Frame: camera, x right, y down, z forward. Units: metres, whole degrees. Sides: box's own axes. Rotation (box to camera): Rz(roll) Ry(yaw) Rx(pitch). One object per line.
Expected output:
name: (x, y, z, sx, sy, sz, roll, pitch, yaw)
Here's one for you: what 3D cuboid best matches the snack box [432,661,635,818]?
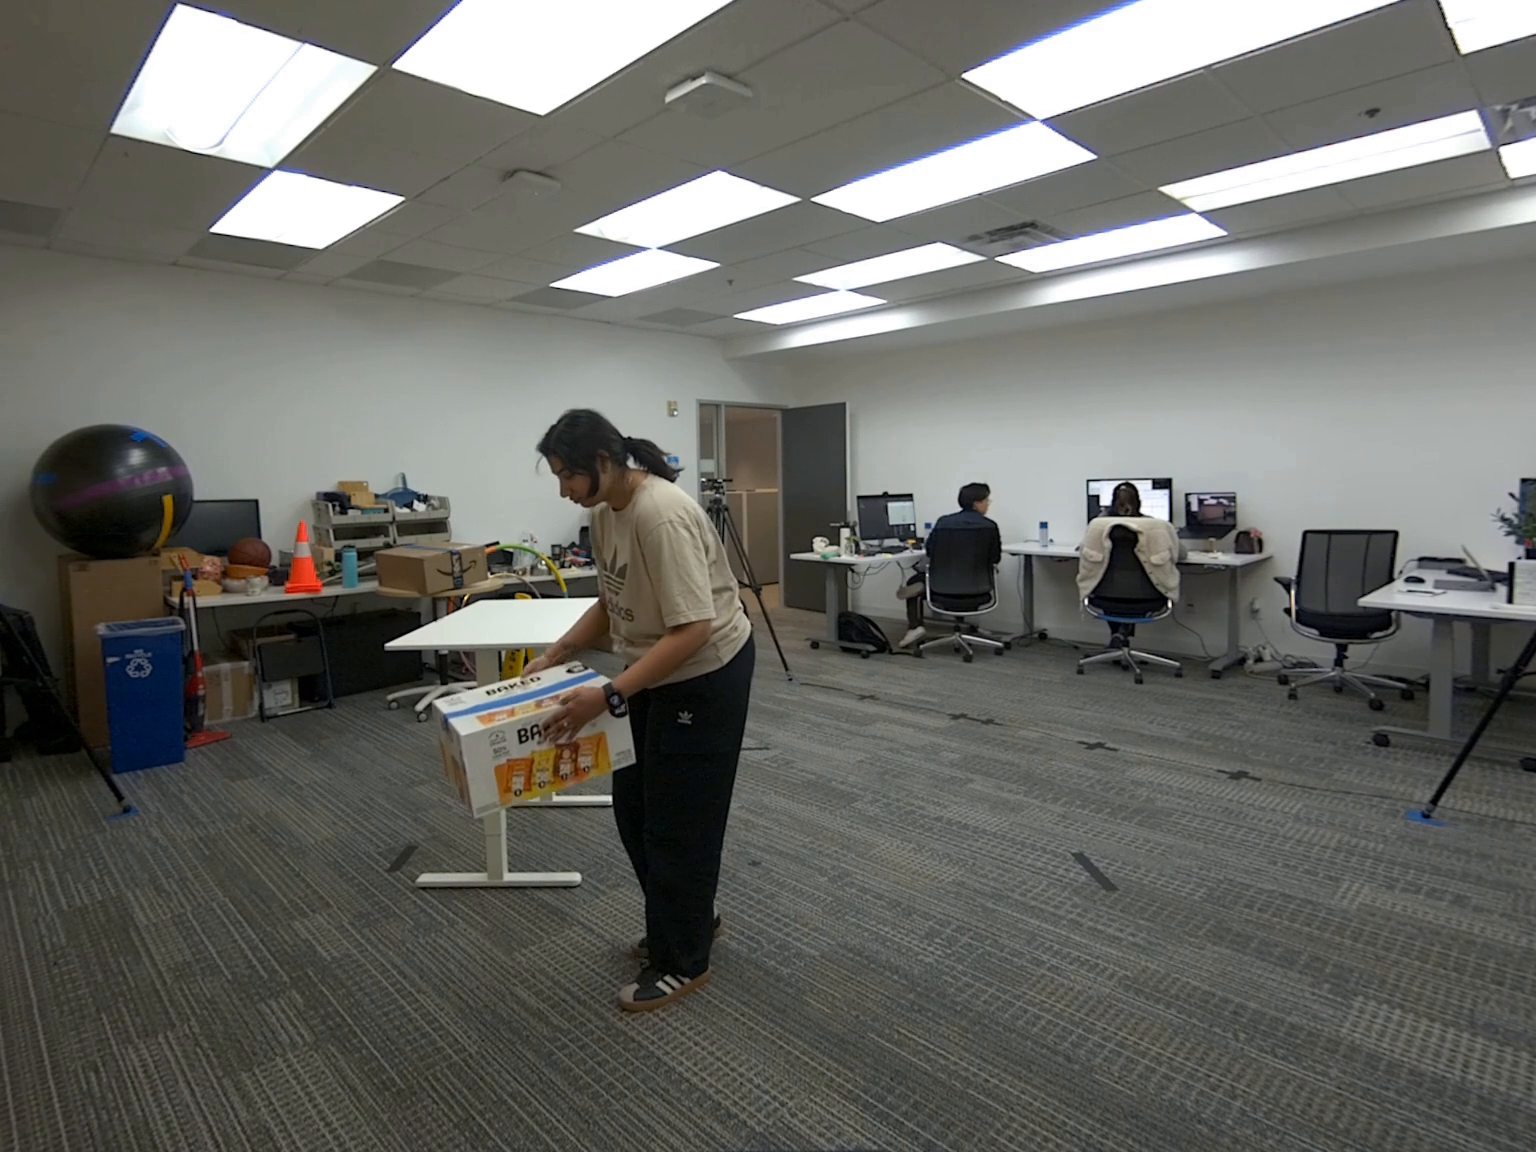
snack box: (-0.584, 0.394, 2.157, 0.397, 0.204, 0.350, -14, 12, -30)
